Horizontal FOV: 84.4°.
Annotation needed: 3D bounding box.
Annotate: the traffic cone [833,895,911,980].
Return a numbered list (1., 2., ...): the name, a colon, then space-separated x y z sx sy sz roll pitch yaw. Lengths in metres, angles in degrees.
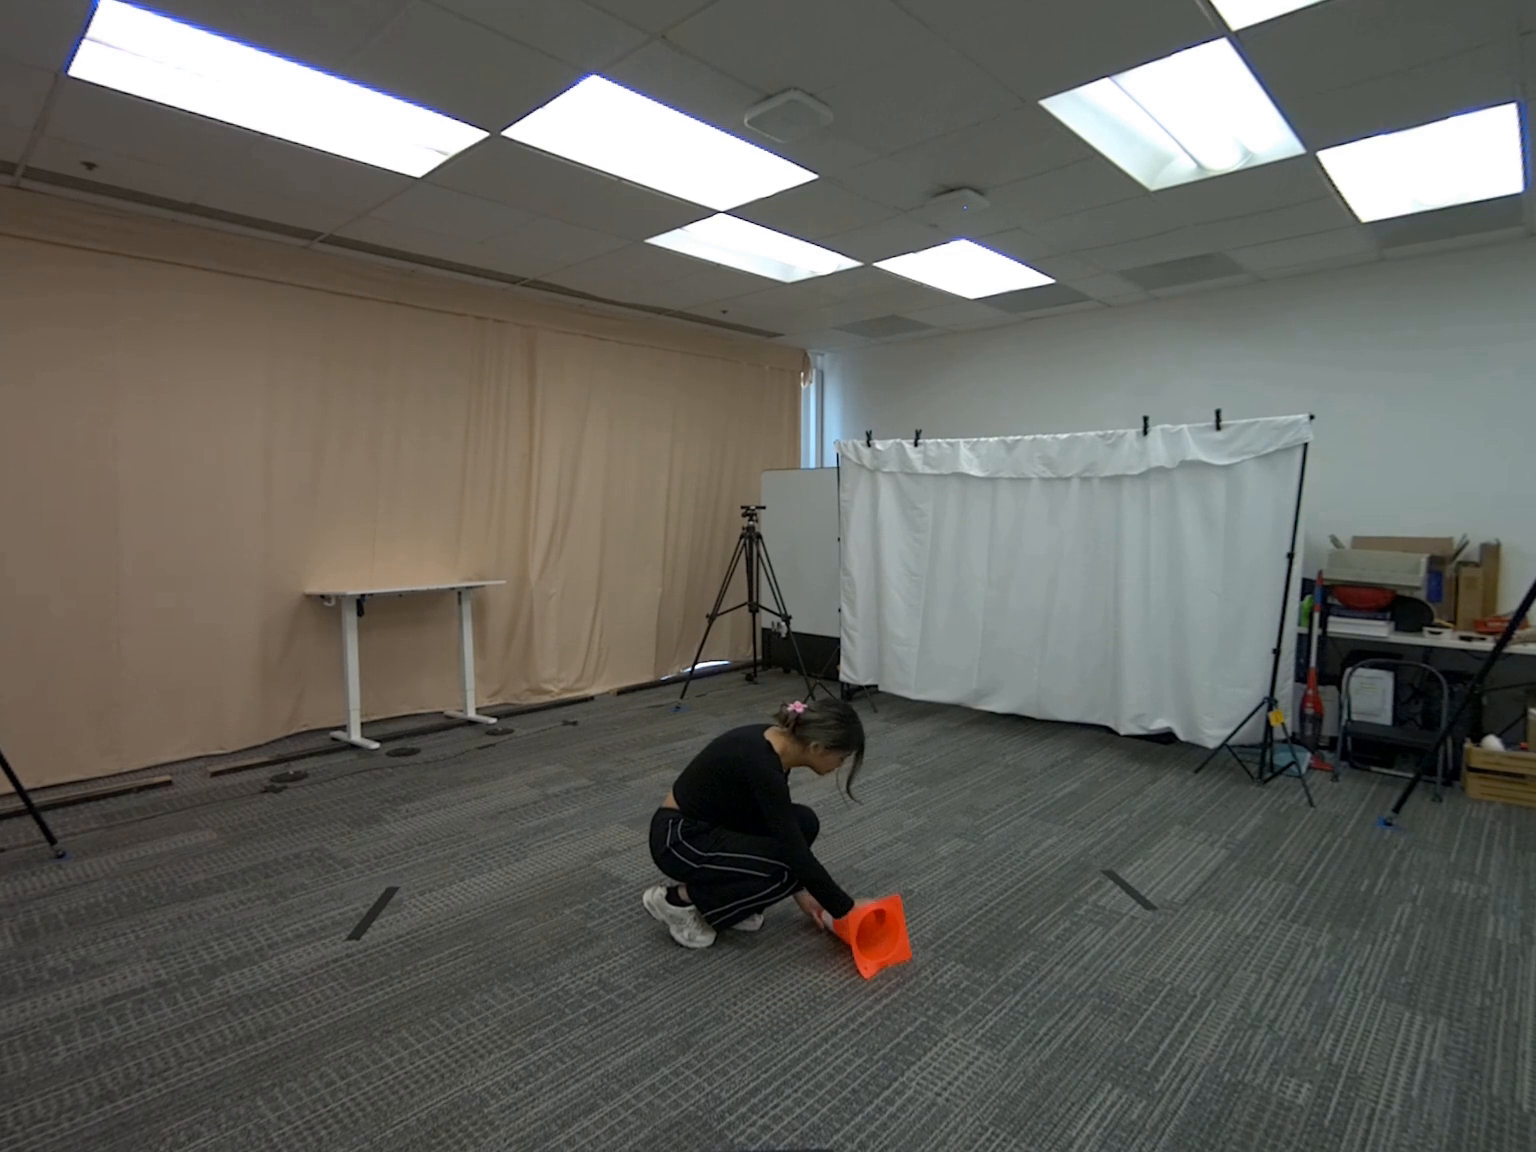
1. traffic cone: 0.245 1.116 2.708 0.198 0.206 0.391 -8 -4 -30
